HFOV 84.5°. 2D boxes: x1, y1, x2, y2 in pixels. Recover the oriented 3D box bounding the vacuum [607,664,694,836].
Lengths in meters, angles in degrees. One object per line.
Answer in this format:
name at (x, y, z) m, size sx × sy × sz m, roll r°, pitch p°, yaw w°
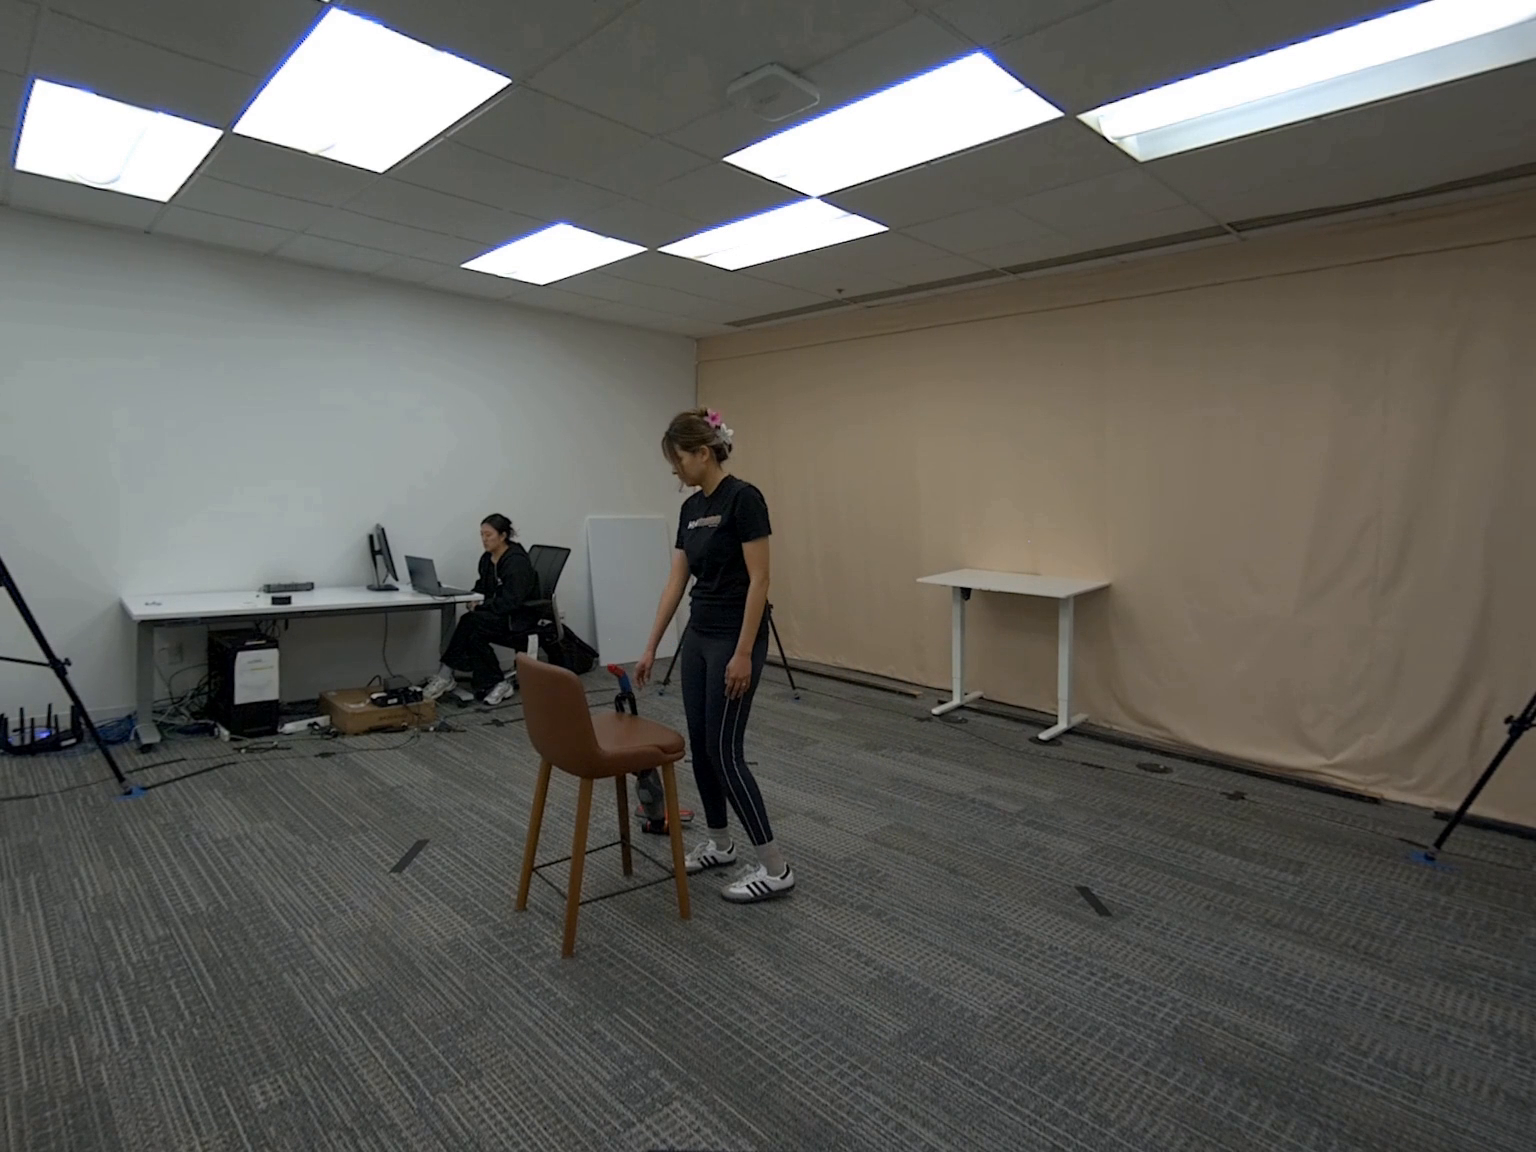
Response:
vacuum at (-0.496, 0.675, 3.188) m, size 0.255 × 1.023 × 0.146 m, roll 4°, pitch 45°, yaw 11°
